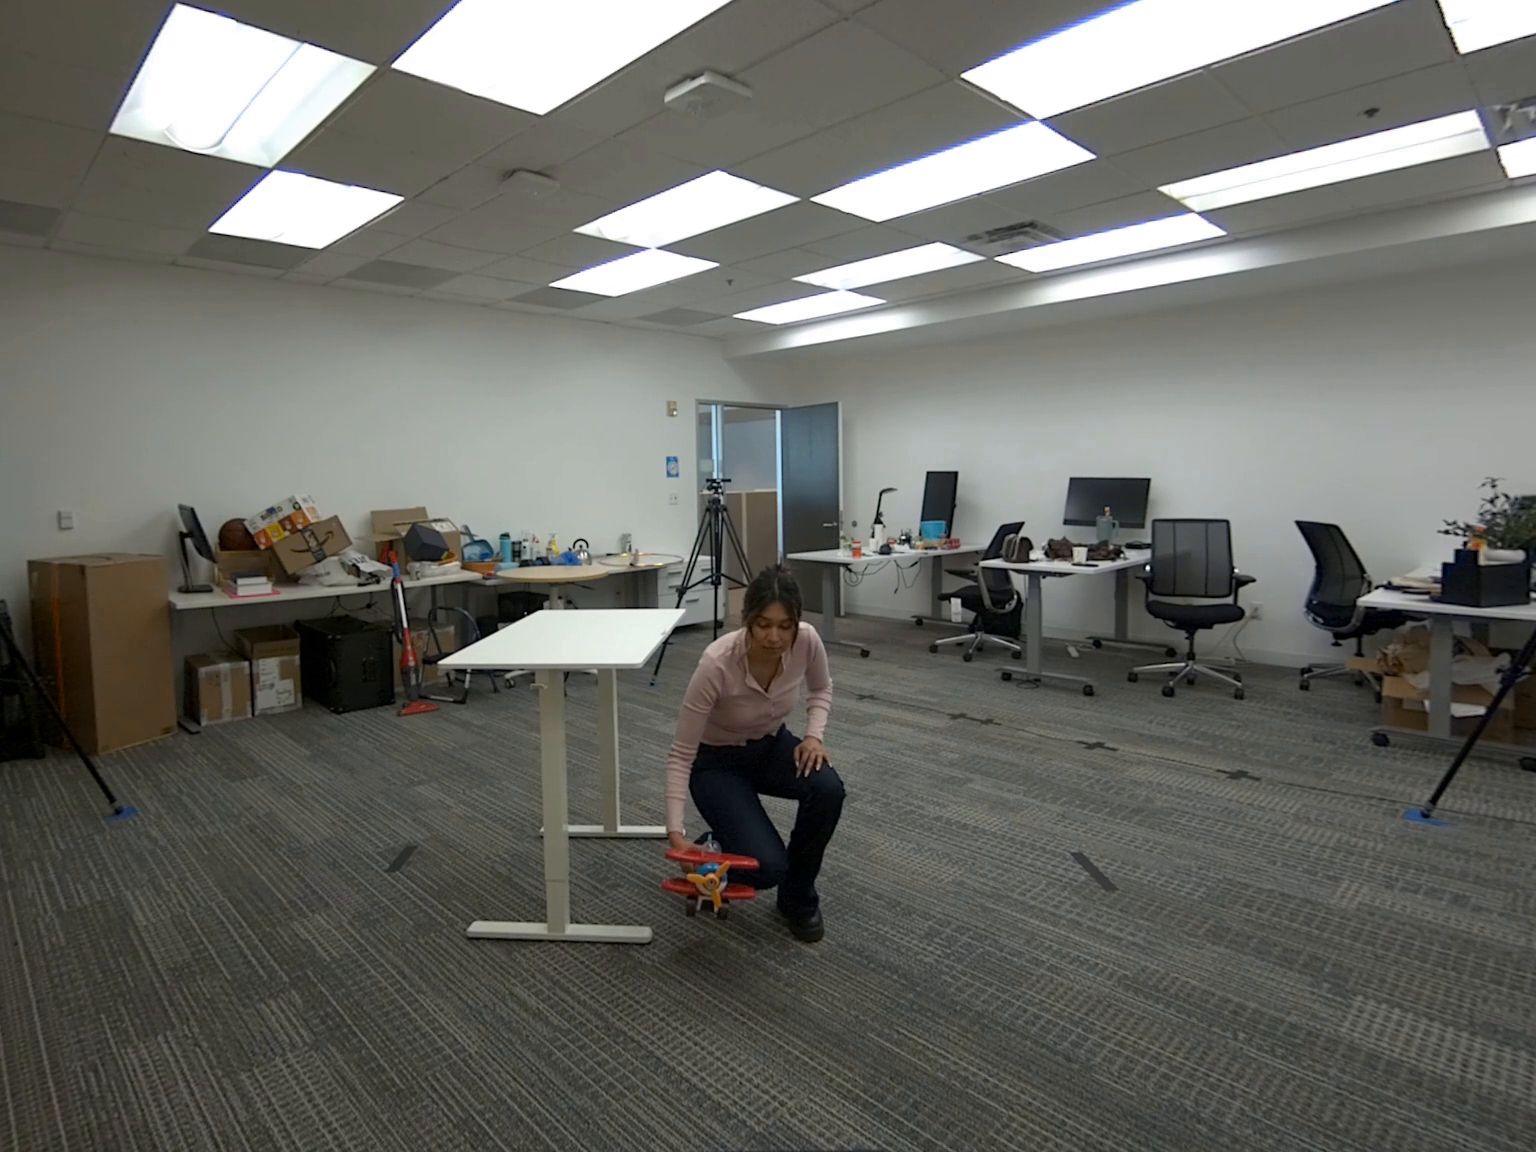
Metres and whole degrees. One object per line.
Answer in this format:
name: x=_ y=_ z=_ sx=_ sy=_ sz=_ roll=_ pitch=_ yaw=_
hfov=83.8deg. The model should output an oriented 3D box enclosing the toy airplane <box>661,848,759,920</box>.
toy airplane: x=-0.172 y=0.811 z=2.339 sx=0.245 sy=0.155 sz=0.267 roll=0 pitch=12 yaw=-28
